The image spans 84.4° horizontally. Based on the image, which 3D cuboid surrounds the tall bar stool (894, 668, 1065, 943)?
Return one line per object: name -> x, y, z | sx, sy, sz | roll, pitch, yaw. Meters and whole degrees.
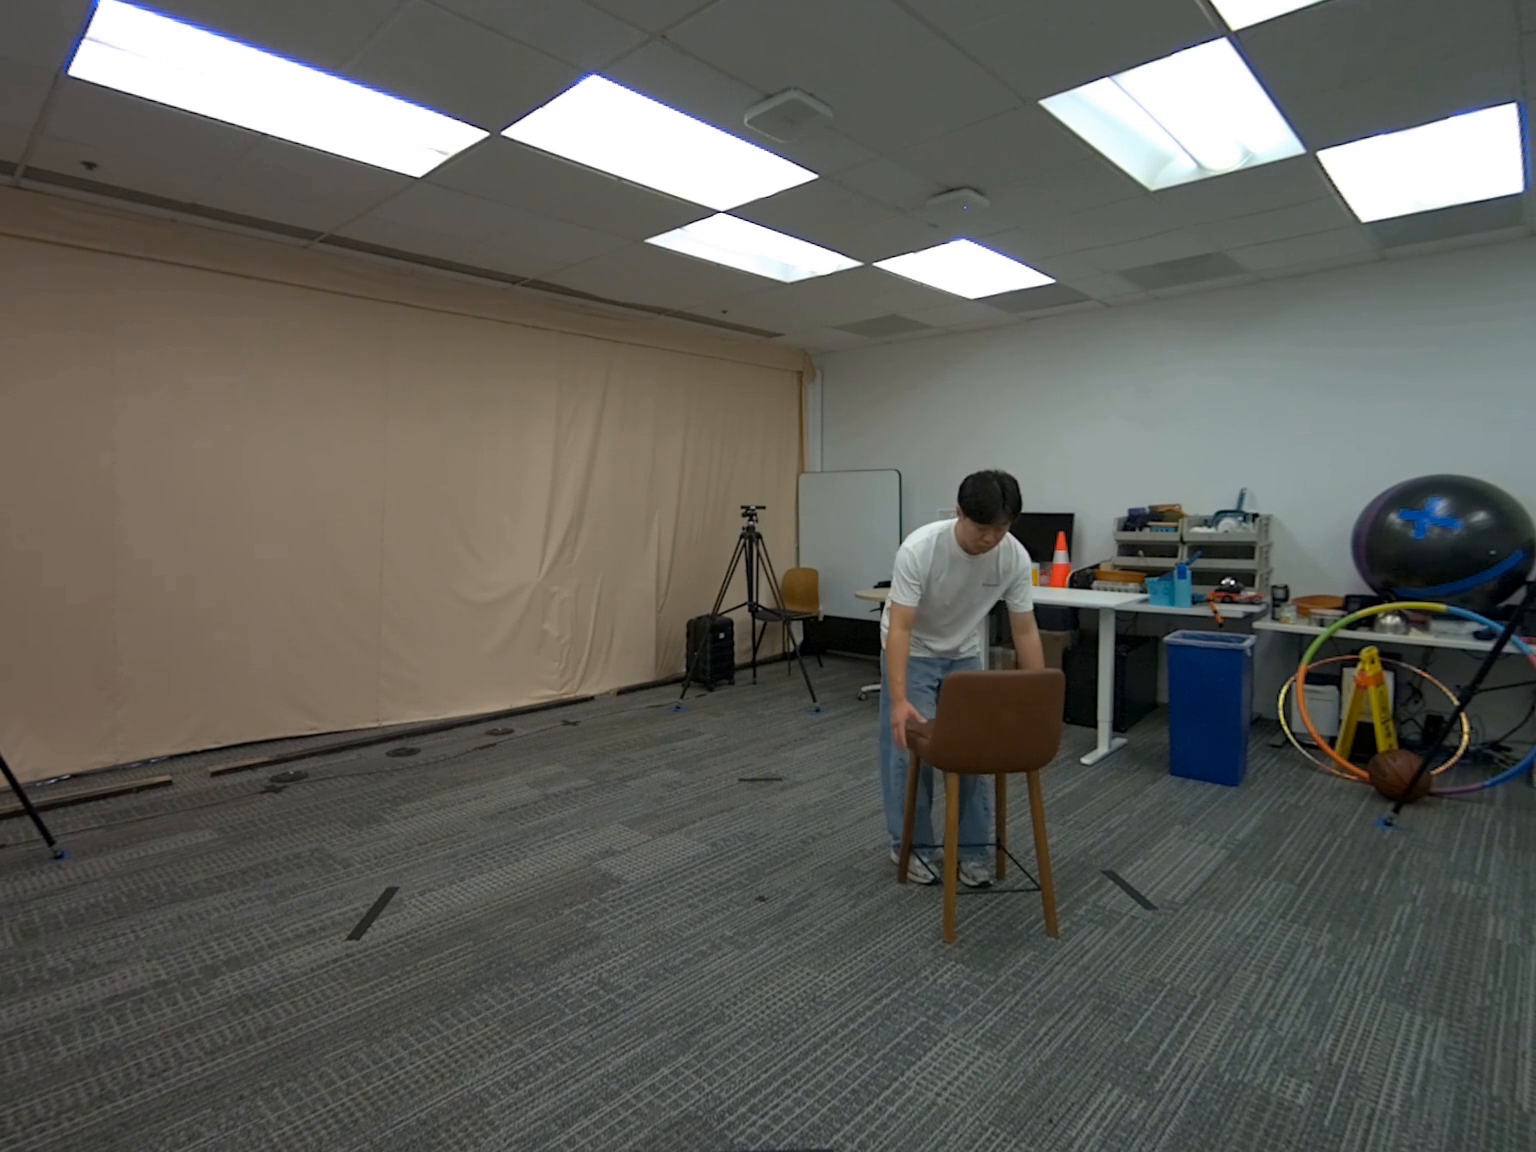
tall bar stool -> 0.716, 0.710, 2.882 | 0.453, 0.887, 0.473 | 0, 5, -8
